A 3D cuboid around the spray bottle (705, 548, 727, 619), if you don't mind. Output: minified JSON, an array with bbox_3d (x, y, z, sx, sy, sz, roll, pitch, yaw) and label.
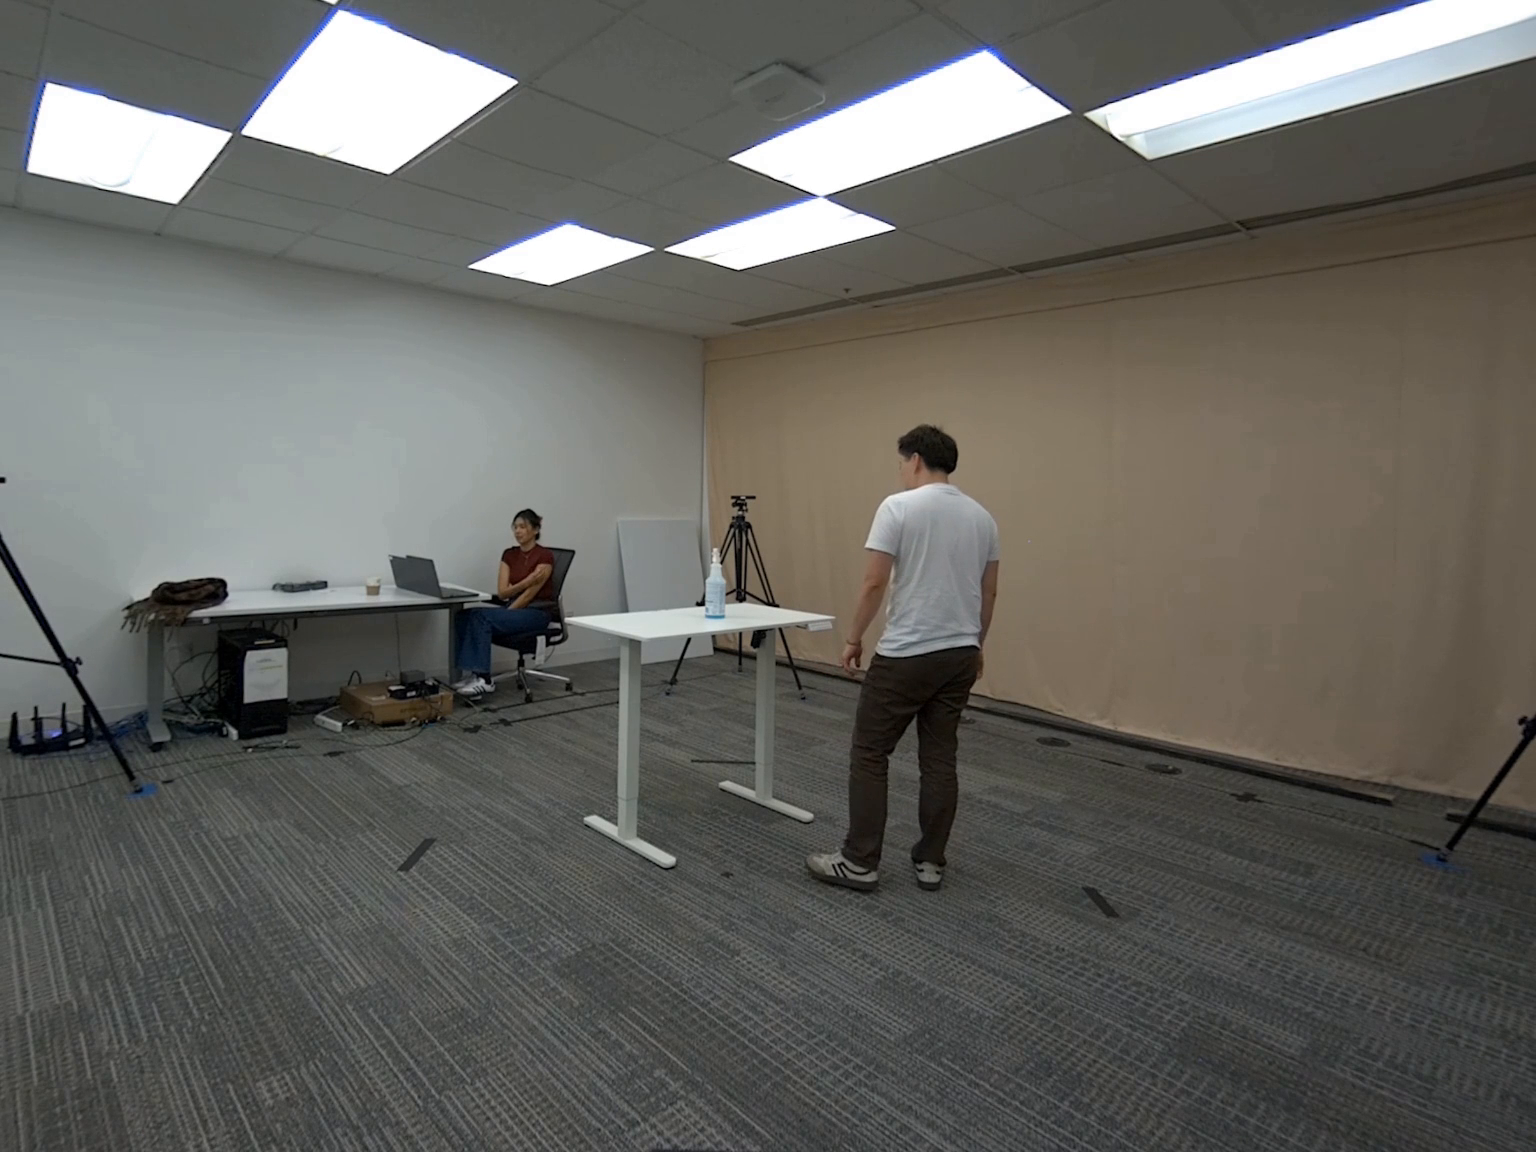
[{"bbox_3d":[-0.230,0.033,3.571,0.089,0.296,0.088,4,6,26],"label":"spray bottle"}]
